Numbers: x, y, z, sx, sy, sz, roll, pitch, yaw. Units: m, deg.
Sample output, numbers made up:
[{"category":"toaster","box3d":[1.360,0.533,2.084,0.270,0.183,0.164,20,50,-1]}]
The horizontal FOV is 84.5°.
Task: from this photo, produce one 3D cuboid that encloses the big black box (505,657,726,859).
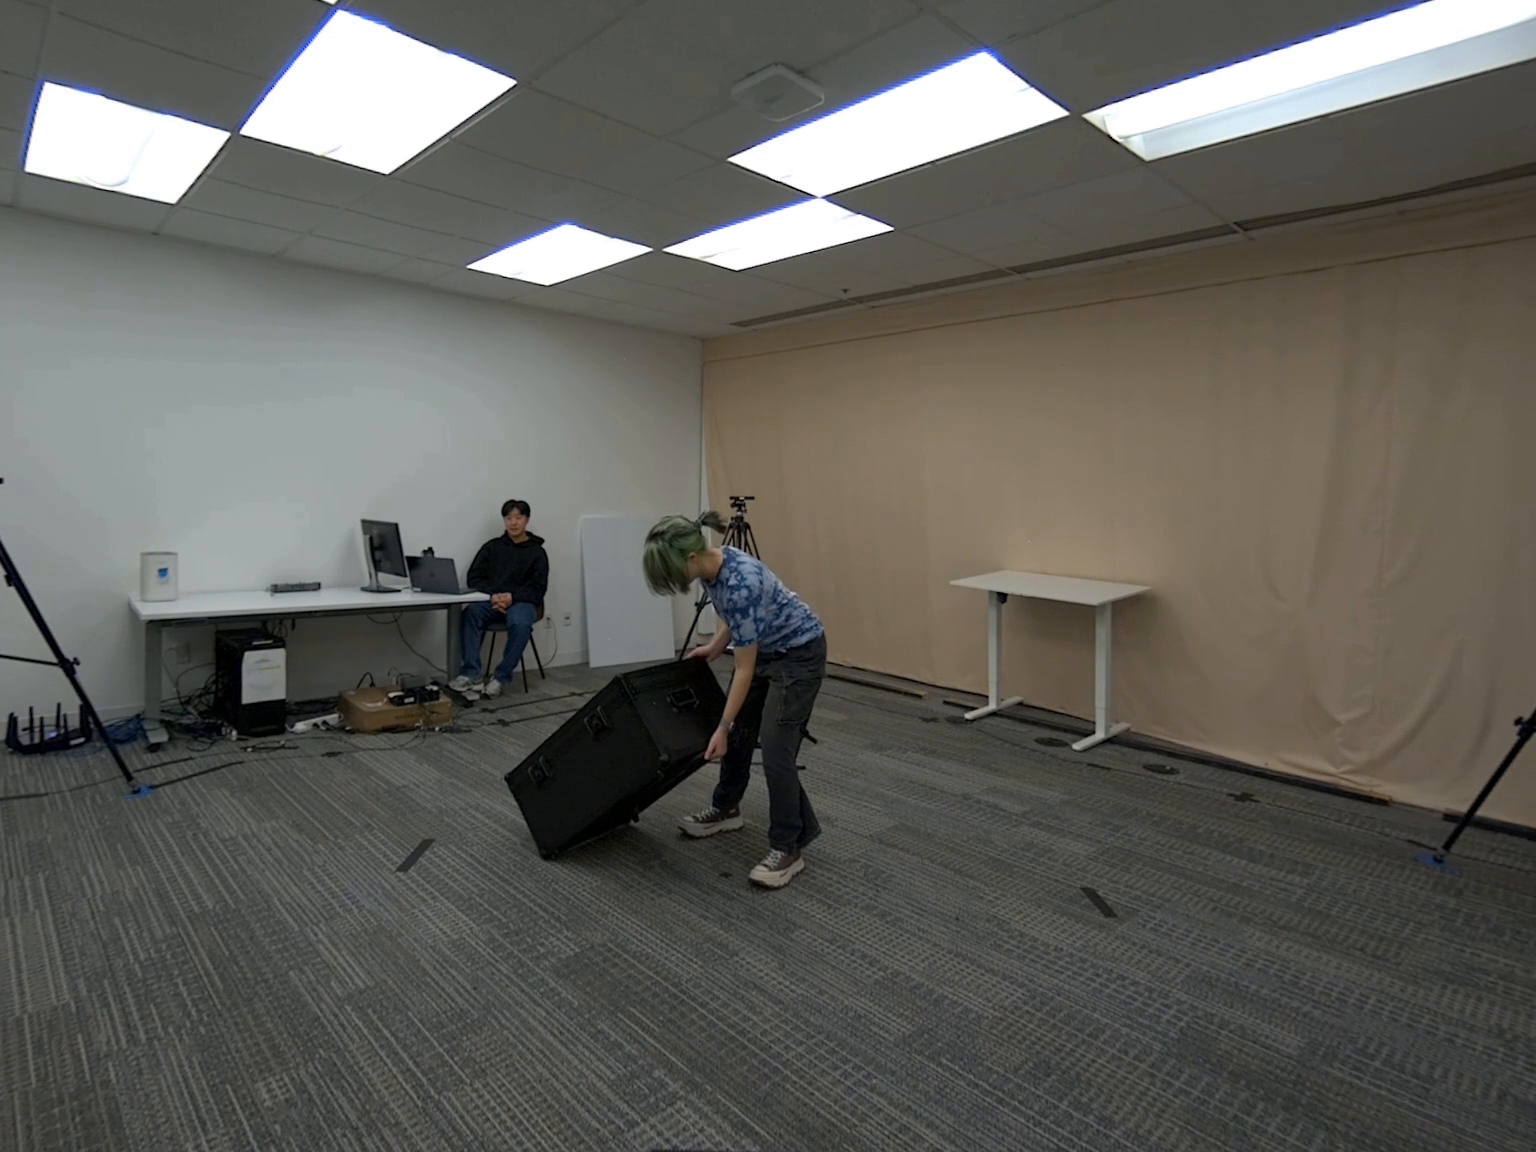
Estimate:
[{"category":"big black box","box3d":[-0.582,0.725,3.256,0.864,0.403,0.510,-40,-19,30]}]
